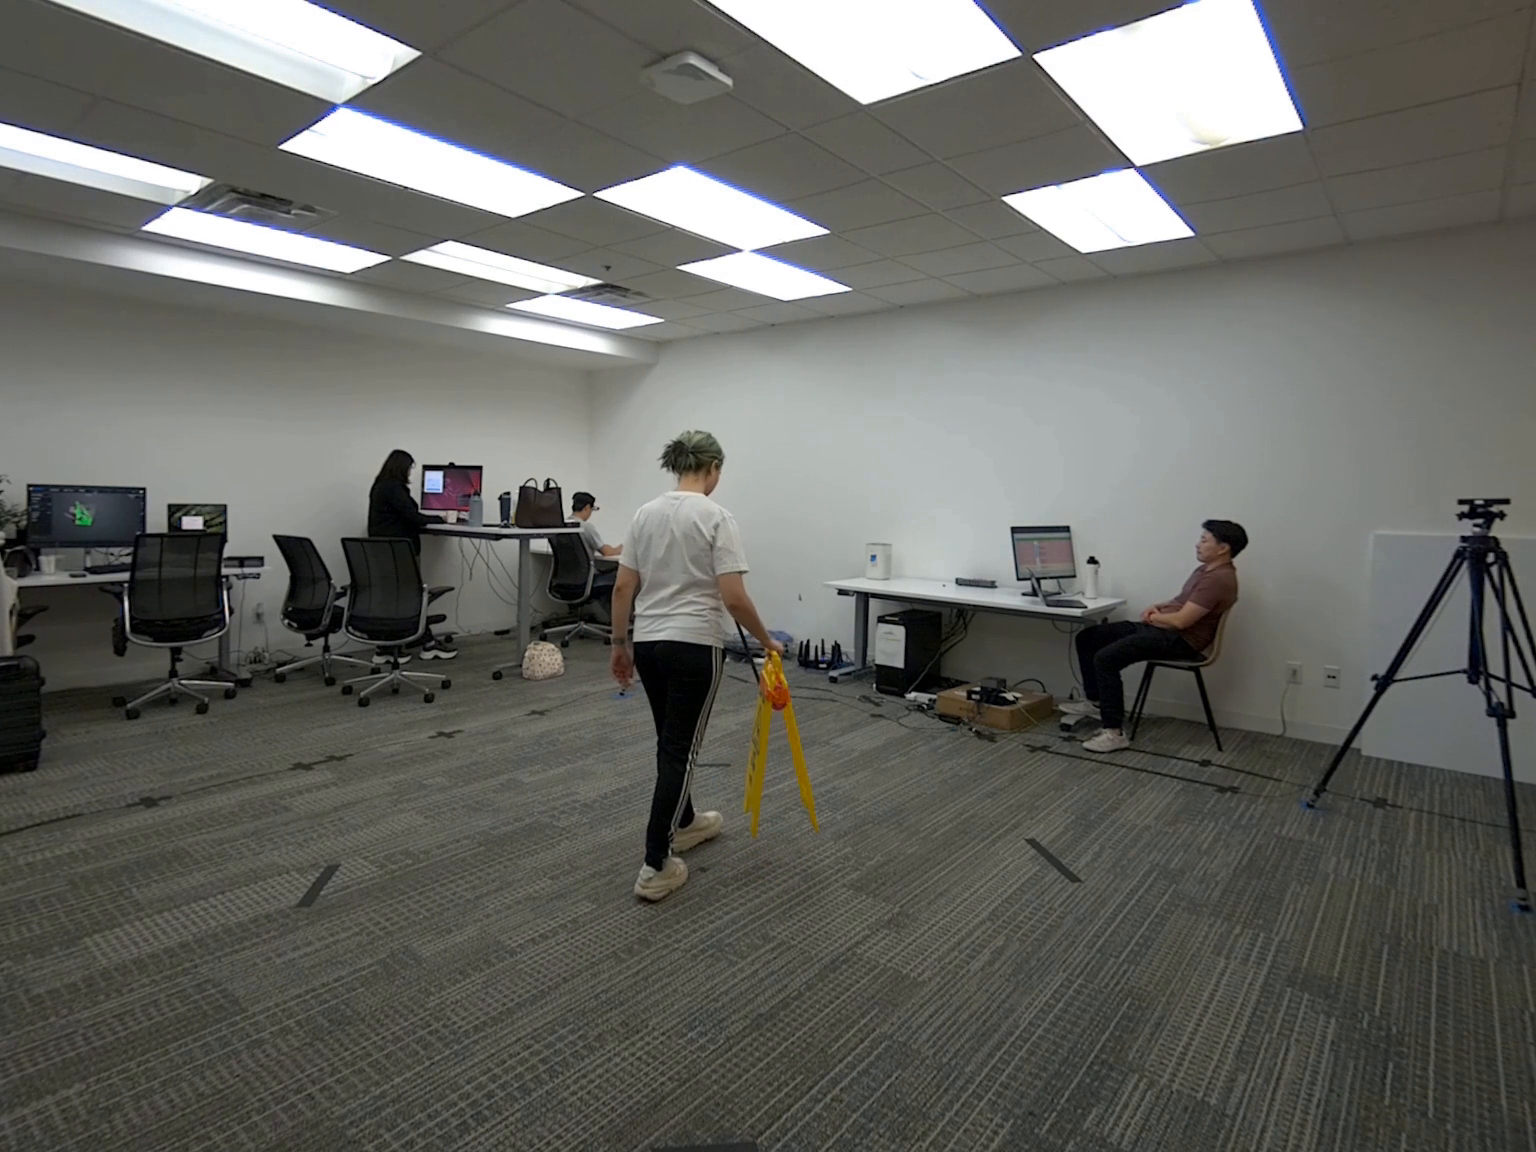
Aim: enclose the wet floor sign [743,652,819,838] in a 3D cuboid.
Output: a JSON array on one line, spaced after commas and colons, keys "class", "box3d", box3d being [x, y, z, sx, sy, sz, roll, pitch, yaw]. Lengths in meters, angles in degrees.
[{"class": "wet floor sign", "box3d": [0.025, 0.587, 3.107, 0.288, 0.641, 0.286, -2, 7, -7]}]
